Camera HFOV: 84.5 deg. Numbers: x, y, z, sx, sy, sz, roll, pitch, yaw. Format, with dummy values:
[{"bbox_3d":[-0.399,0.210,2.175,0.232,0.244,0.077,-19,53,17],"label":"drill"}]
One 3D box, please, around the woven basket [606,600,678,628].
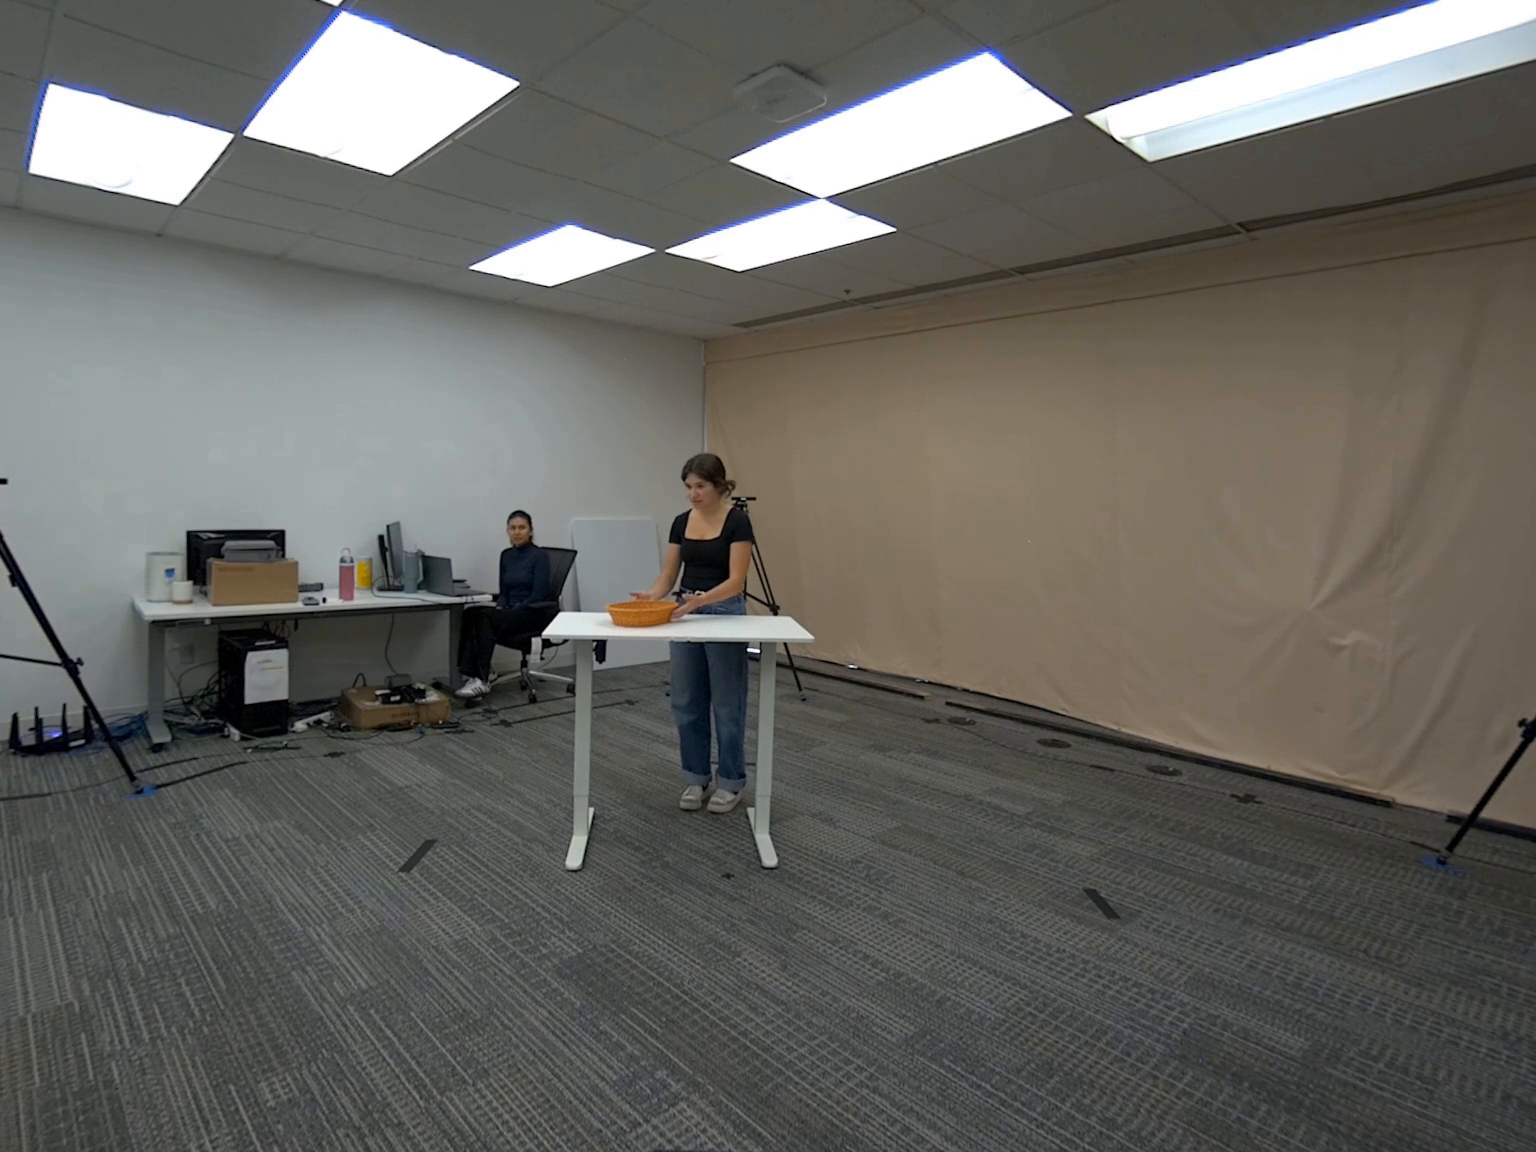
[{"bbox_3d":[-0.532,0.156,3.413,0.258,0.073,0.344,4,6,27],"label":"woven basket"}]
